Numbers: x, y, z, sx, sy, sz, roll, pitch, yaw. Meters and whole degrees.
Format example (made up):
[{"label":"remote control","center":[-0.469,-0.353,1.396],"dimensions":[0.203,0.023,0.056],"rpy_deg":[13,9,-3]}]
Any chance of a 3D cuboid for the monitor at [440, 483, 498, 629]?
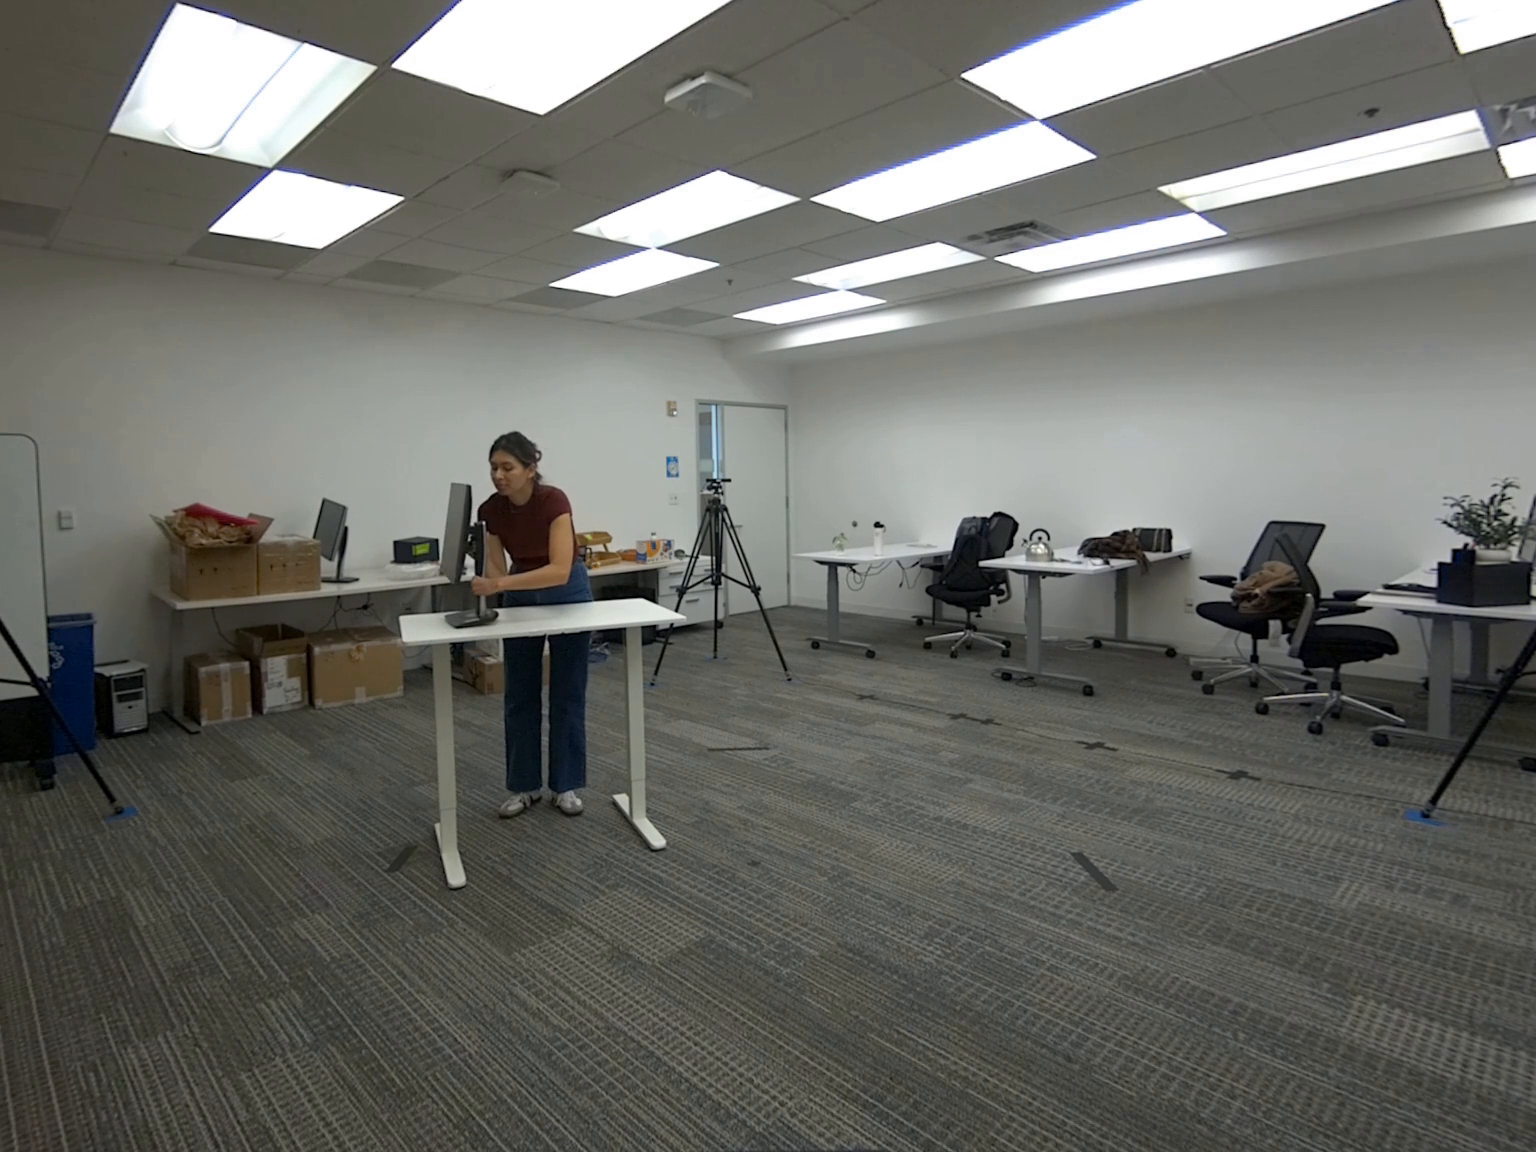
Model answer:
[{"label":"monitor","center":[-1.137,-0.088,3.204],"dimensions":[0.183,0.520,0.553],"rpy_deg":[-6,7,-25]}]
